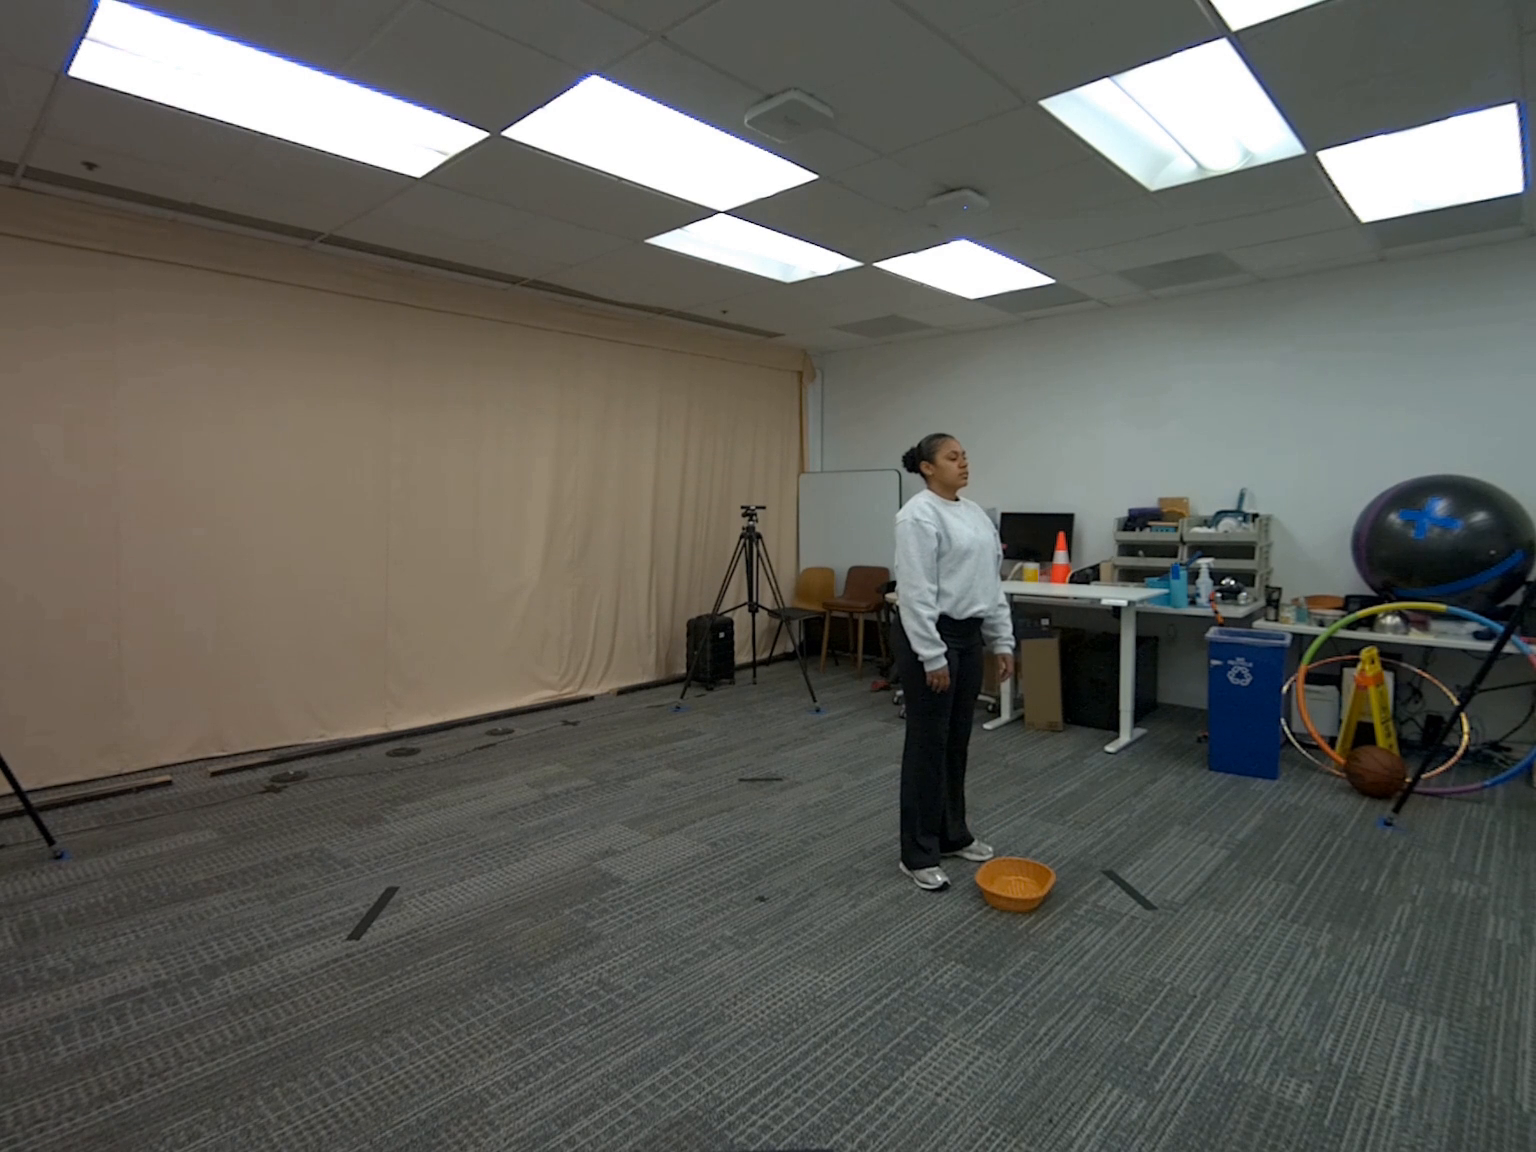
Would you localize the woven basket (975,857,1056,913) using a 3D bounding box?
[{"bbox_3d":[0.881,1.099,3.005,0.260,0.073,0.340,3,6,35],"label":"woven basket"}]
